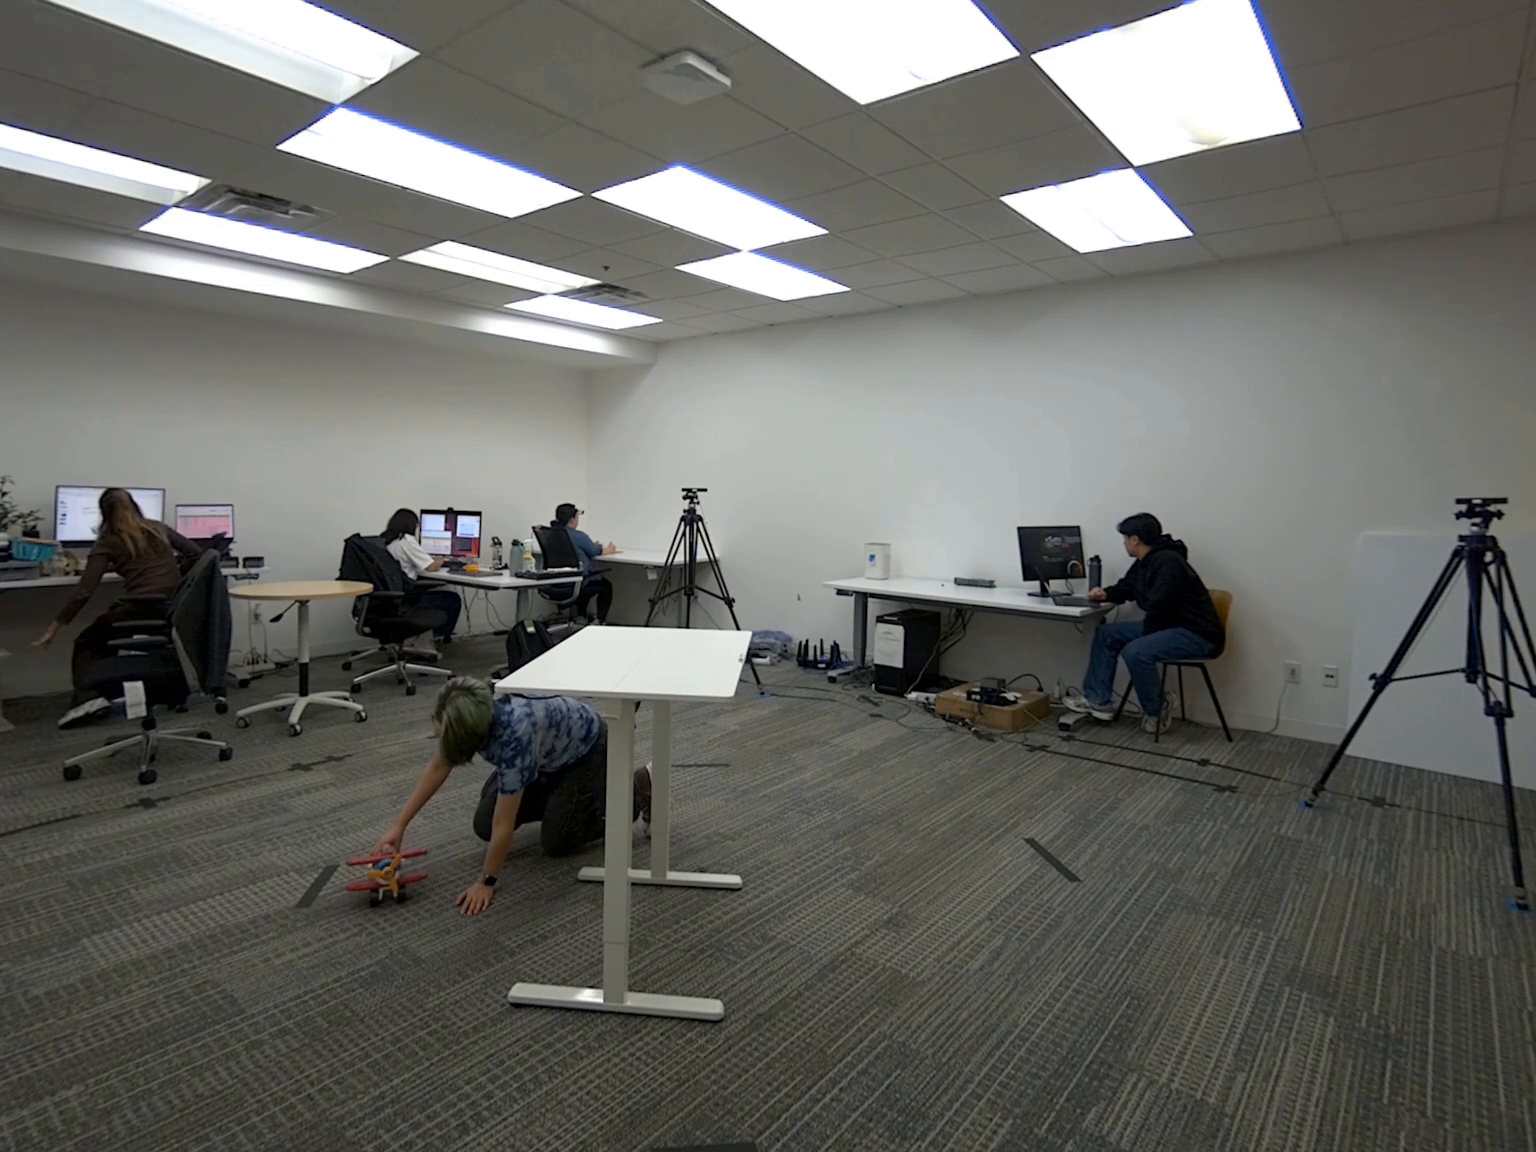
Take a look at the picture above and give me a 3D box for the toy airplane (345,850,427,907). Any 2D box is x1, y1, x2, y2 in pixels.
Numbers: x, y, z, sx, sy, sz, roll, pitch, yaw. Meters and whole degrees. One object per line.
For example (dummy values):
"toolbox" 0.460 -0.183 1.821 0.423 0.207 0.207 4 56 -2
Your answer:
"toy airplane" -1.333 1.010 2.885 0.268 0.155 0.244 5 8 38
